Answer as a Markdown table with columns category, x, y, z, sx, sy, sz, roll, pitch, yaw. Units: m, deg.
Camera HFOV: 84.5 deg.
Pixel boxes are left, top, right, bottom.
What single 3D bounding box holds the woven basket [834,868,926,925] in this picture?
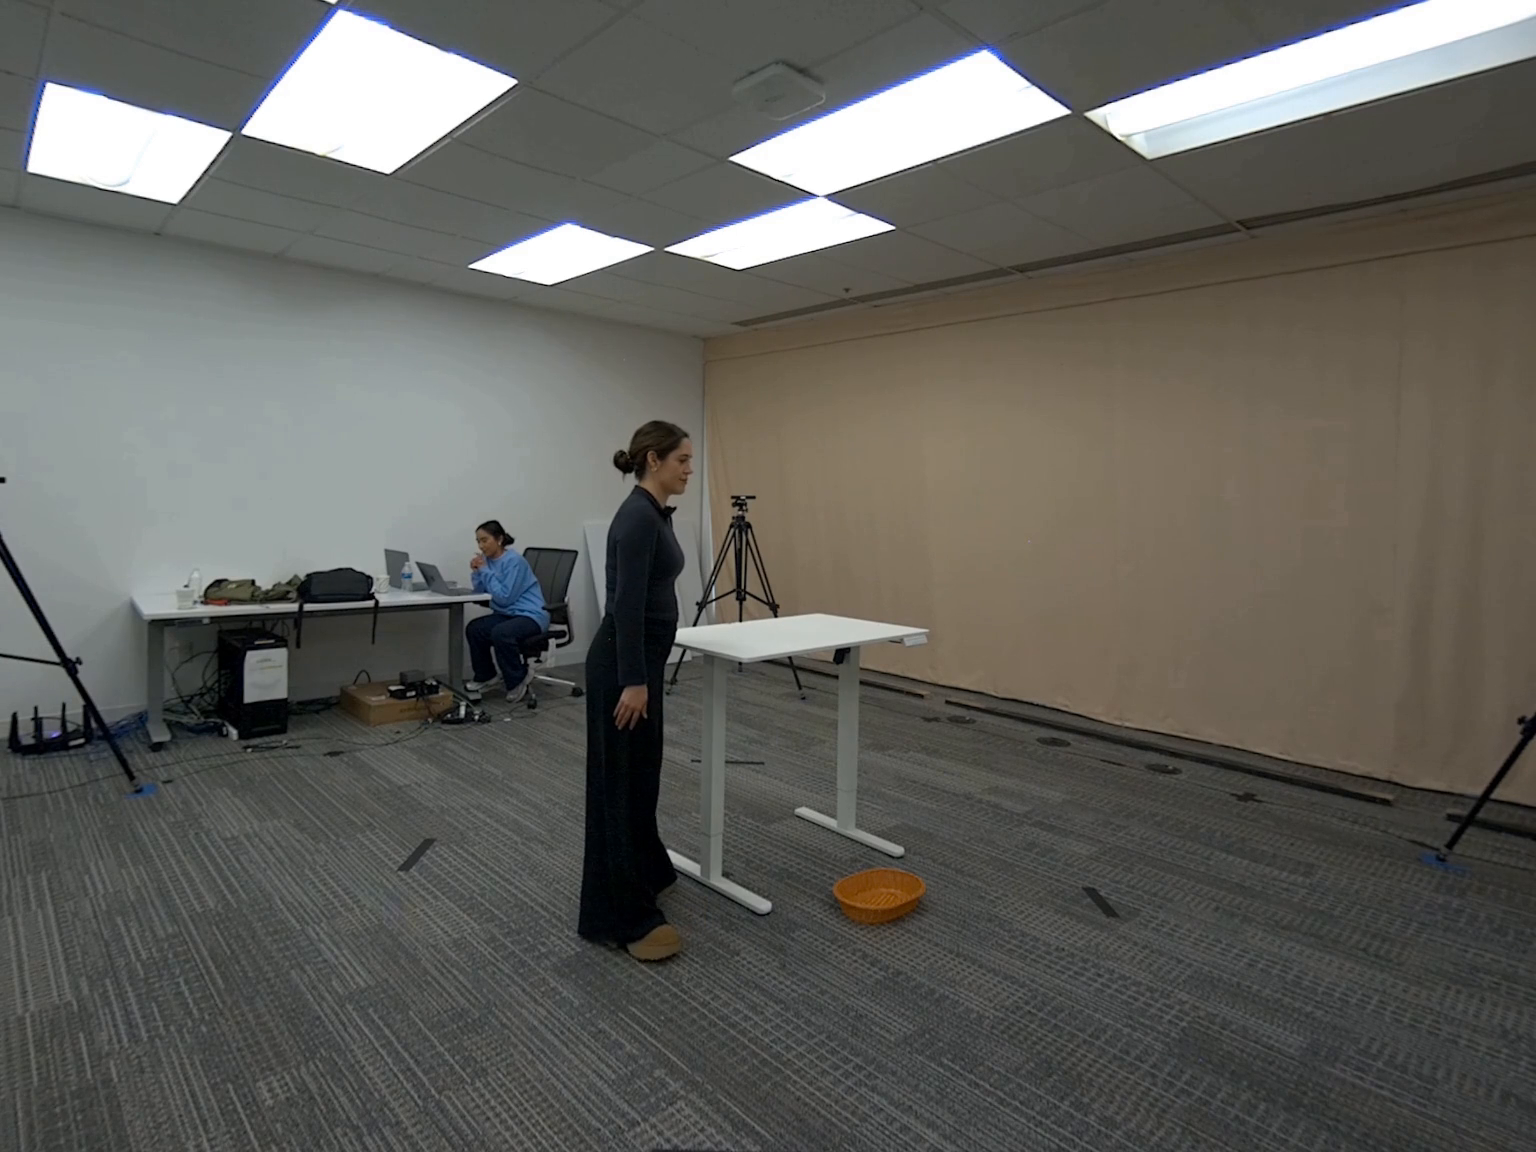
| category | x | y | z | sx | sy | sz | roll | pitch | yaw |
| --- | --- | --- | --- | --- | --- | --- | --- | --- | --- |
| woven basket | 0.377 | 1.089 | 2.879 | 0.343 | 0.073 | 0.259 | -2 | 6 | -37 |
